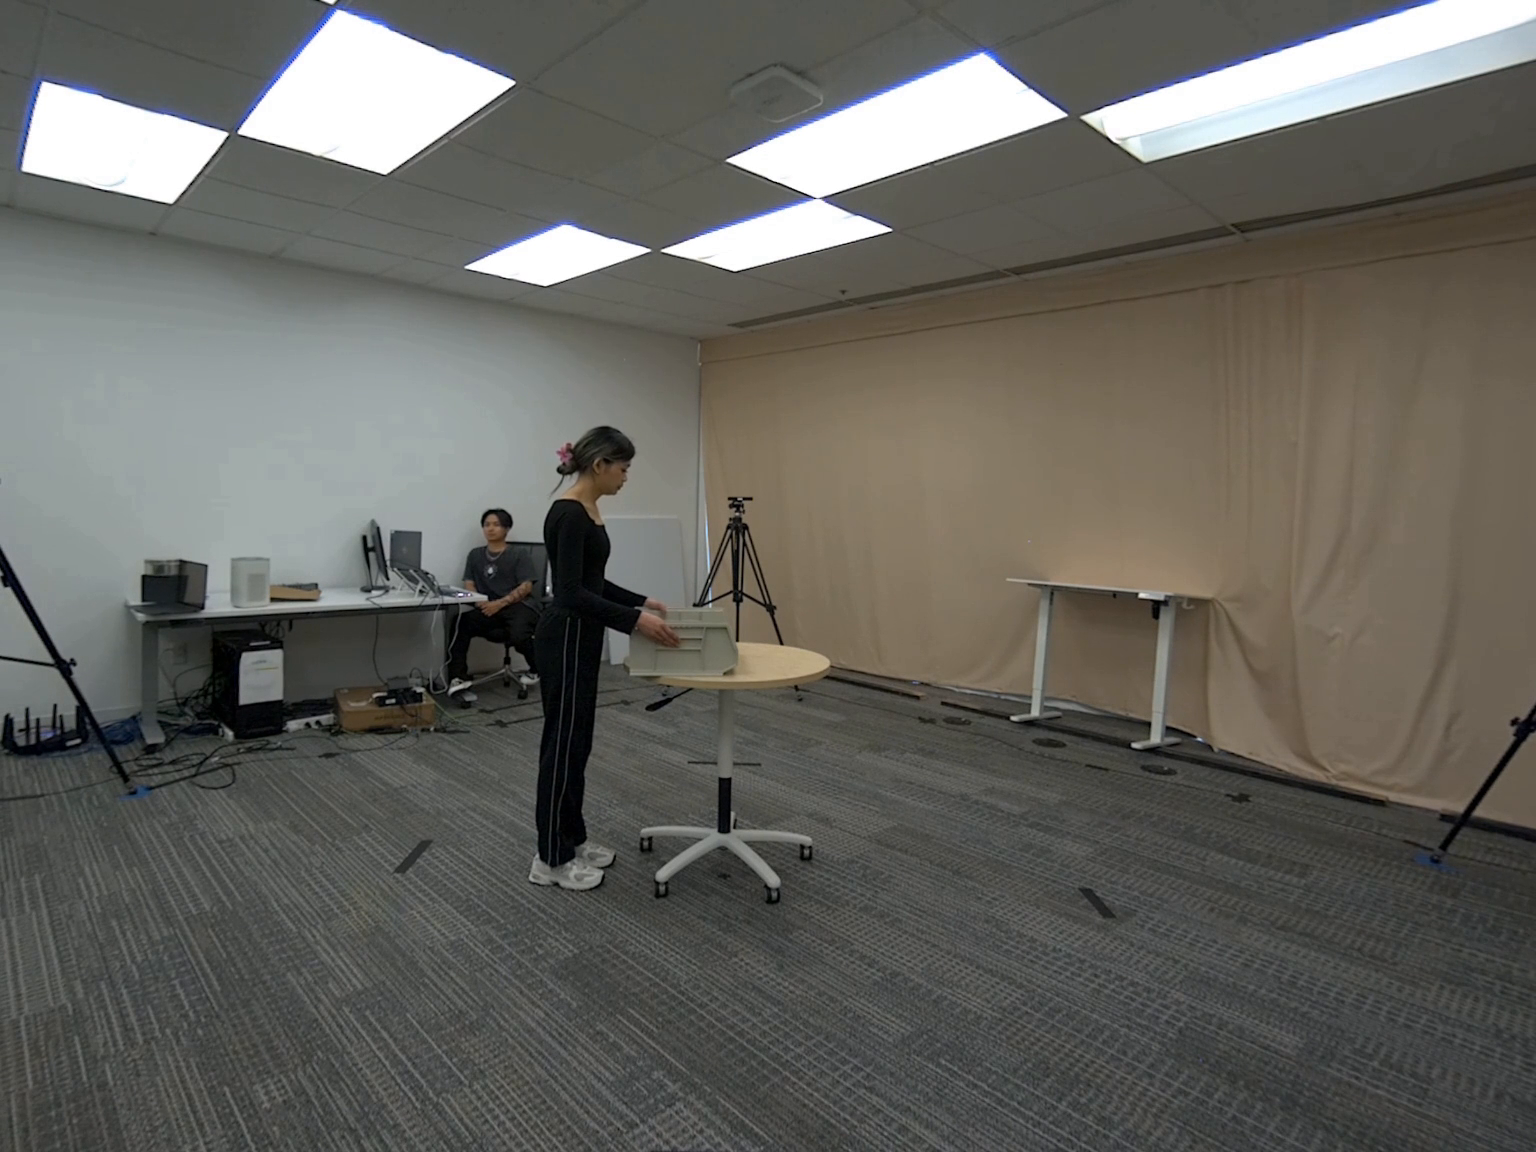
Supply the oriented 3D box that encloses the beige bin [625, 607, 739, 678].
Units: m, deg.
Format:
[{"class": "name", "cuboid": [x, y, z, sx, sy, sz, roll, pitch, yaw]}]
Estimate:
[{"class": "beige bin", "cuboid": [-0.301, 0.229, 3.027, 0.377, 0.188, 0.425, 1, 6, -3]}]
